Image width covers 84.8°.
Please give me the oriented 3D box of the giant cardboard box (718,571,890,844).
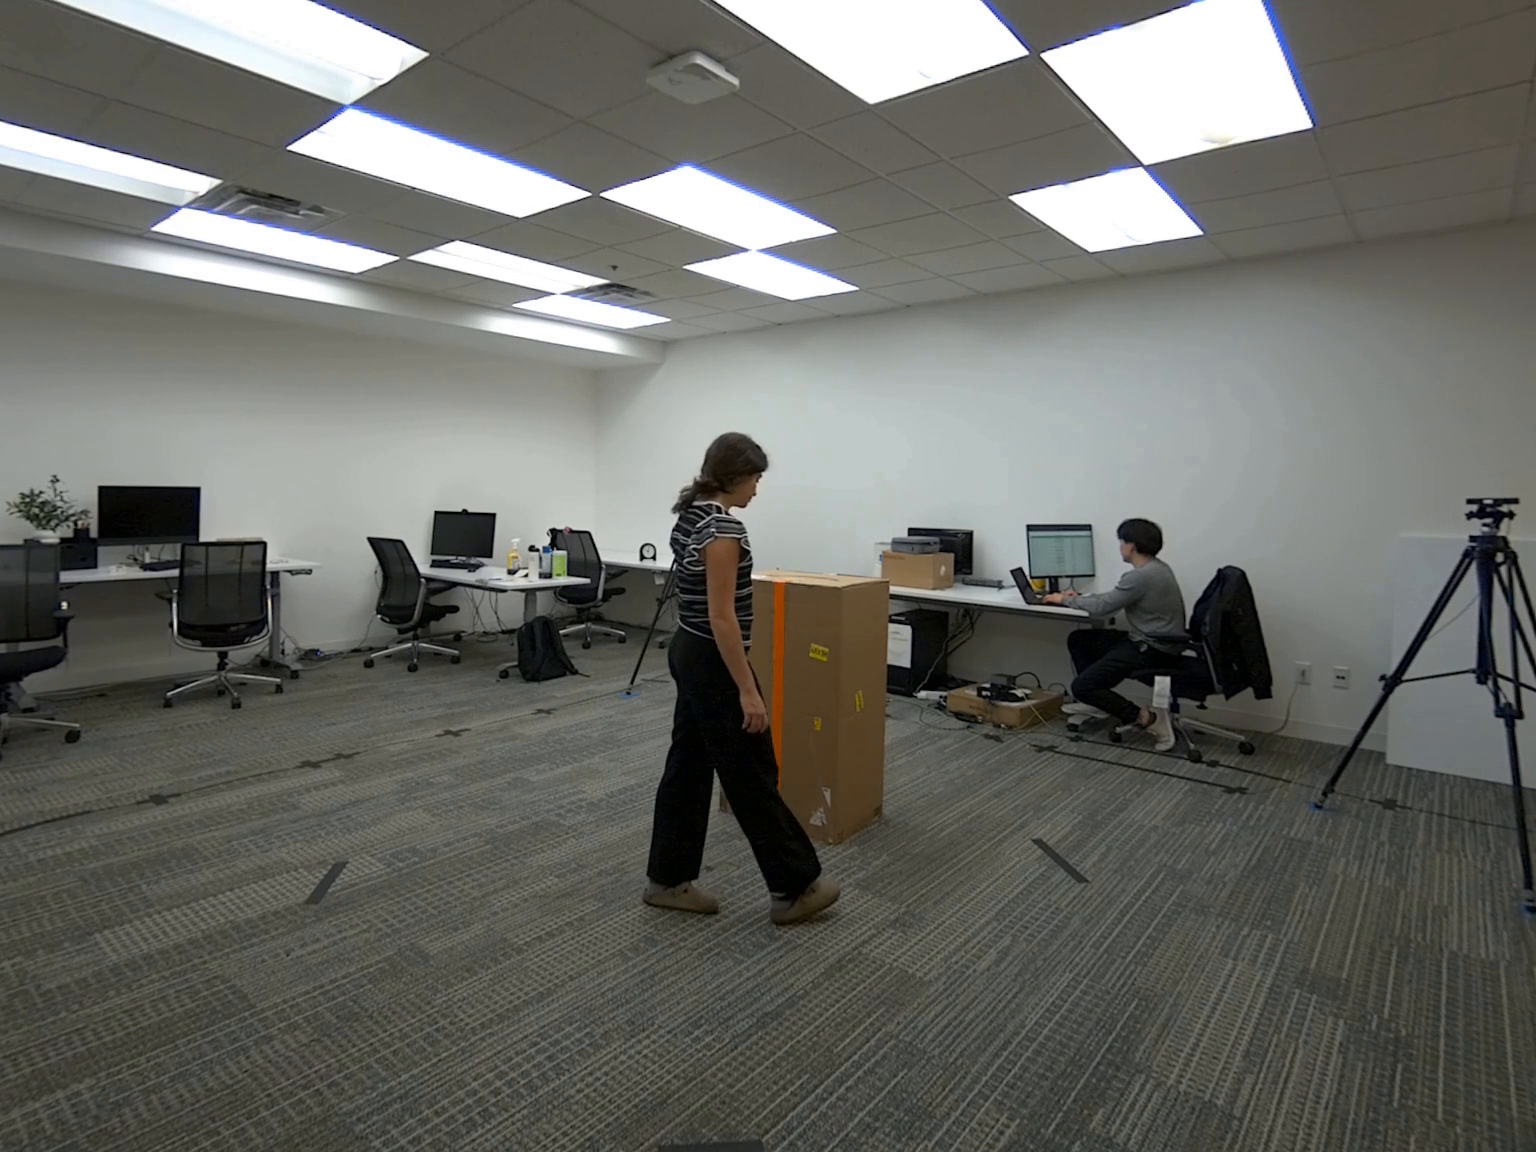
[{"bbox_3d":[0.149,0.513,3.650,0.596,1.023,0.414,4,4,36],"label":"giant cardboard box"}]
